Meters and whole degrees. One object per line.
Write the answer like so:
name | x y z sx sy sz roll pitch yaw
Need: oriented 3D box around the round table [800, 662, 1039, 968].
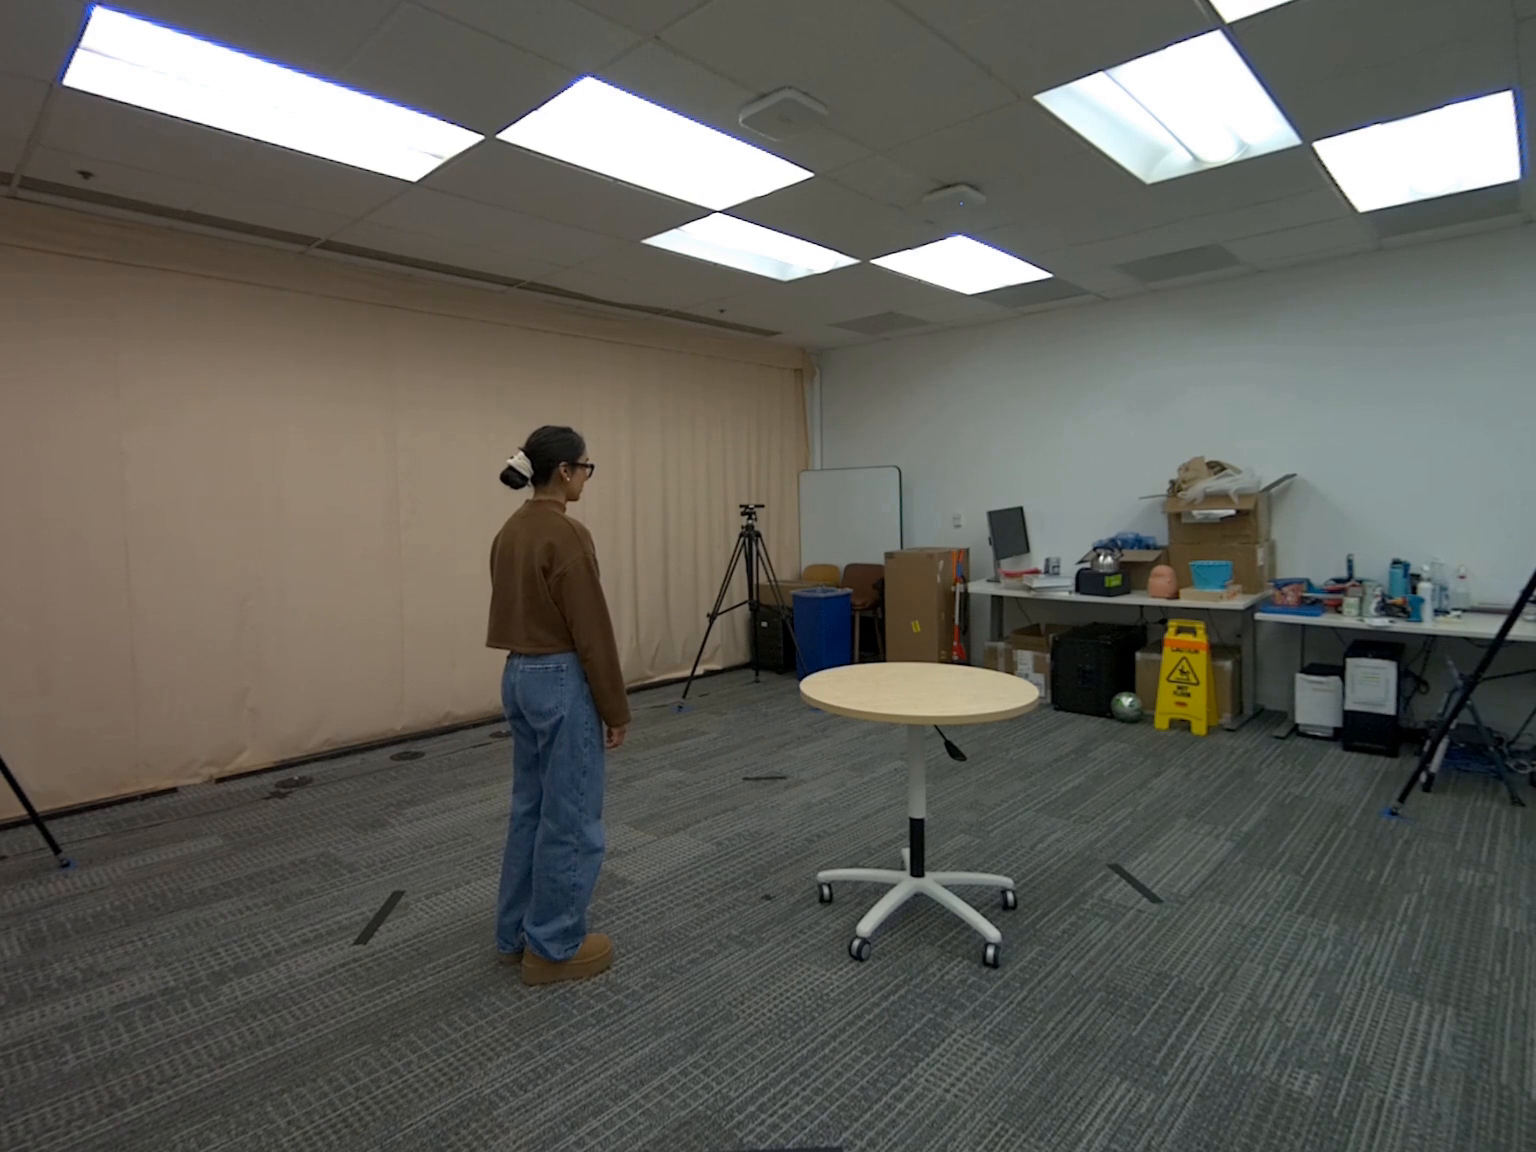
round table | 0.506 0.753 2.794 0.784 0.785 0.788 -1 4 -2
